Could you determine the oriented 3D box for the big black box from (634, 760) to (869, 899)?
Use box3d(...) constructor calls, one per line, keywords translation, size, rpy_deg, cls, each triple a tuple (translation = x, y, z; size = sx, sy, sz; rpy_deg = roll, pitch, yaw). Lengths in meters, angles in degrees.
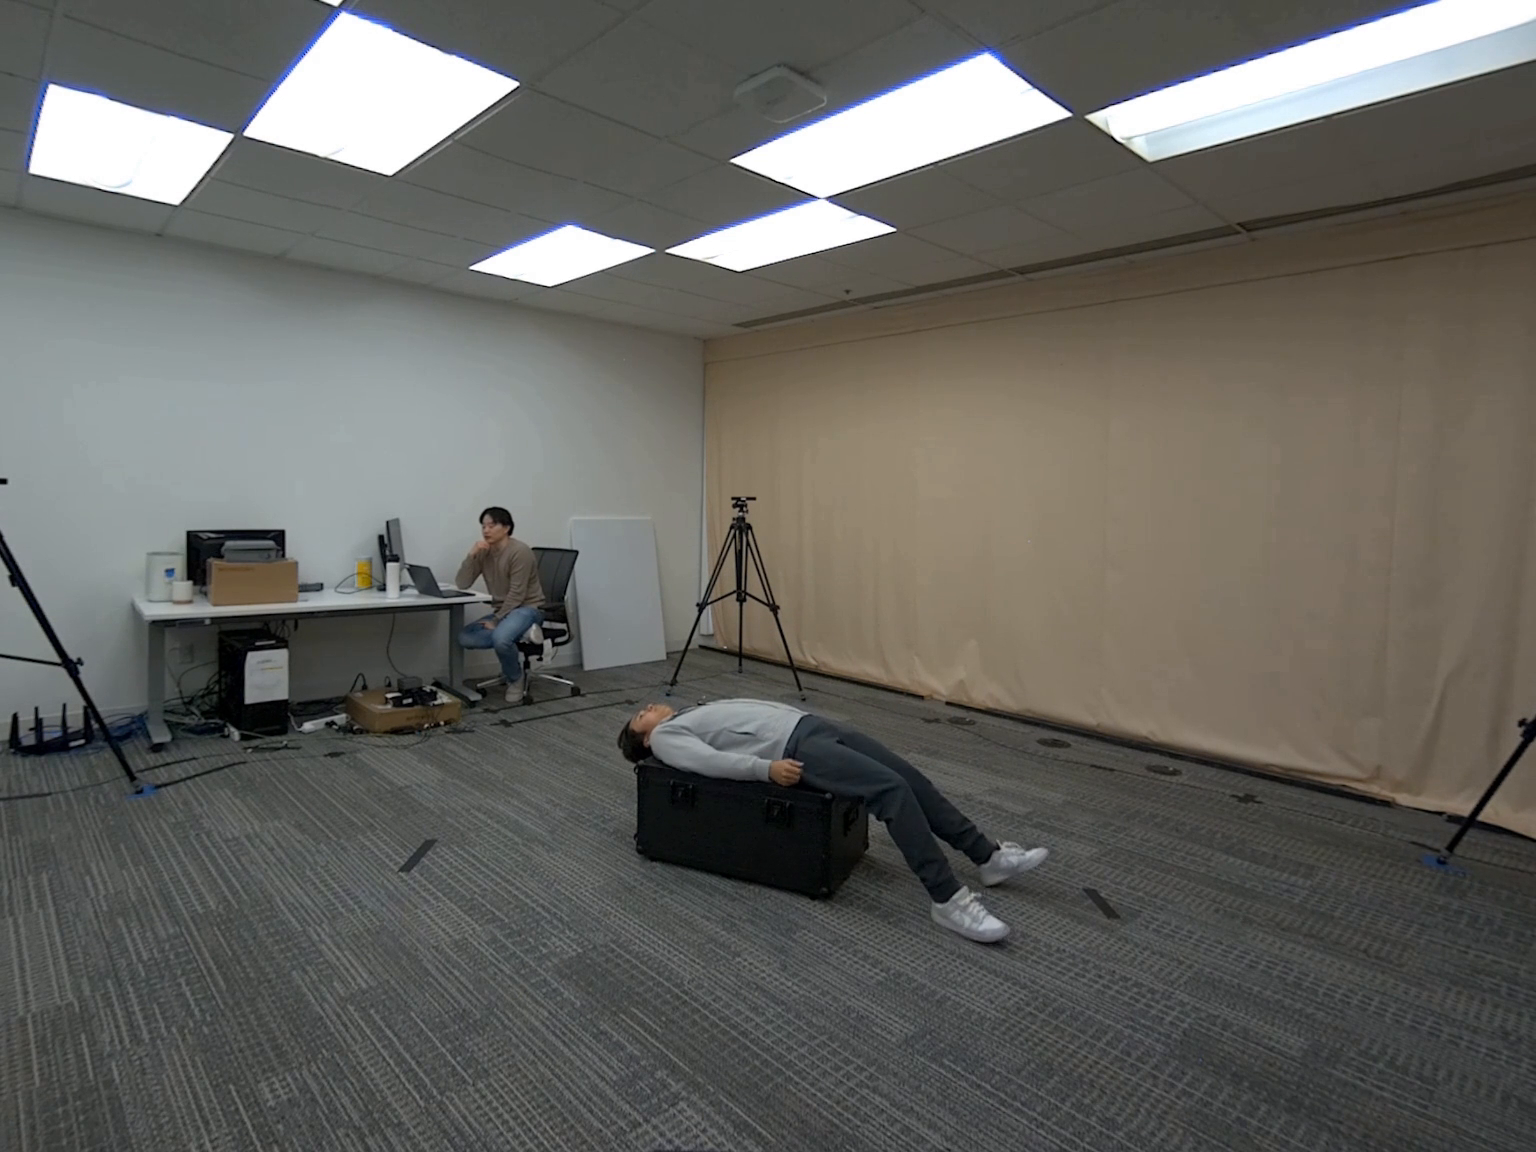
box3d(translation=(-0.029, 0.916, 3.253), size=(0.878, 0.395, 0.512), rpy_deg=(3, 4, 25), cls="big black box")
